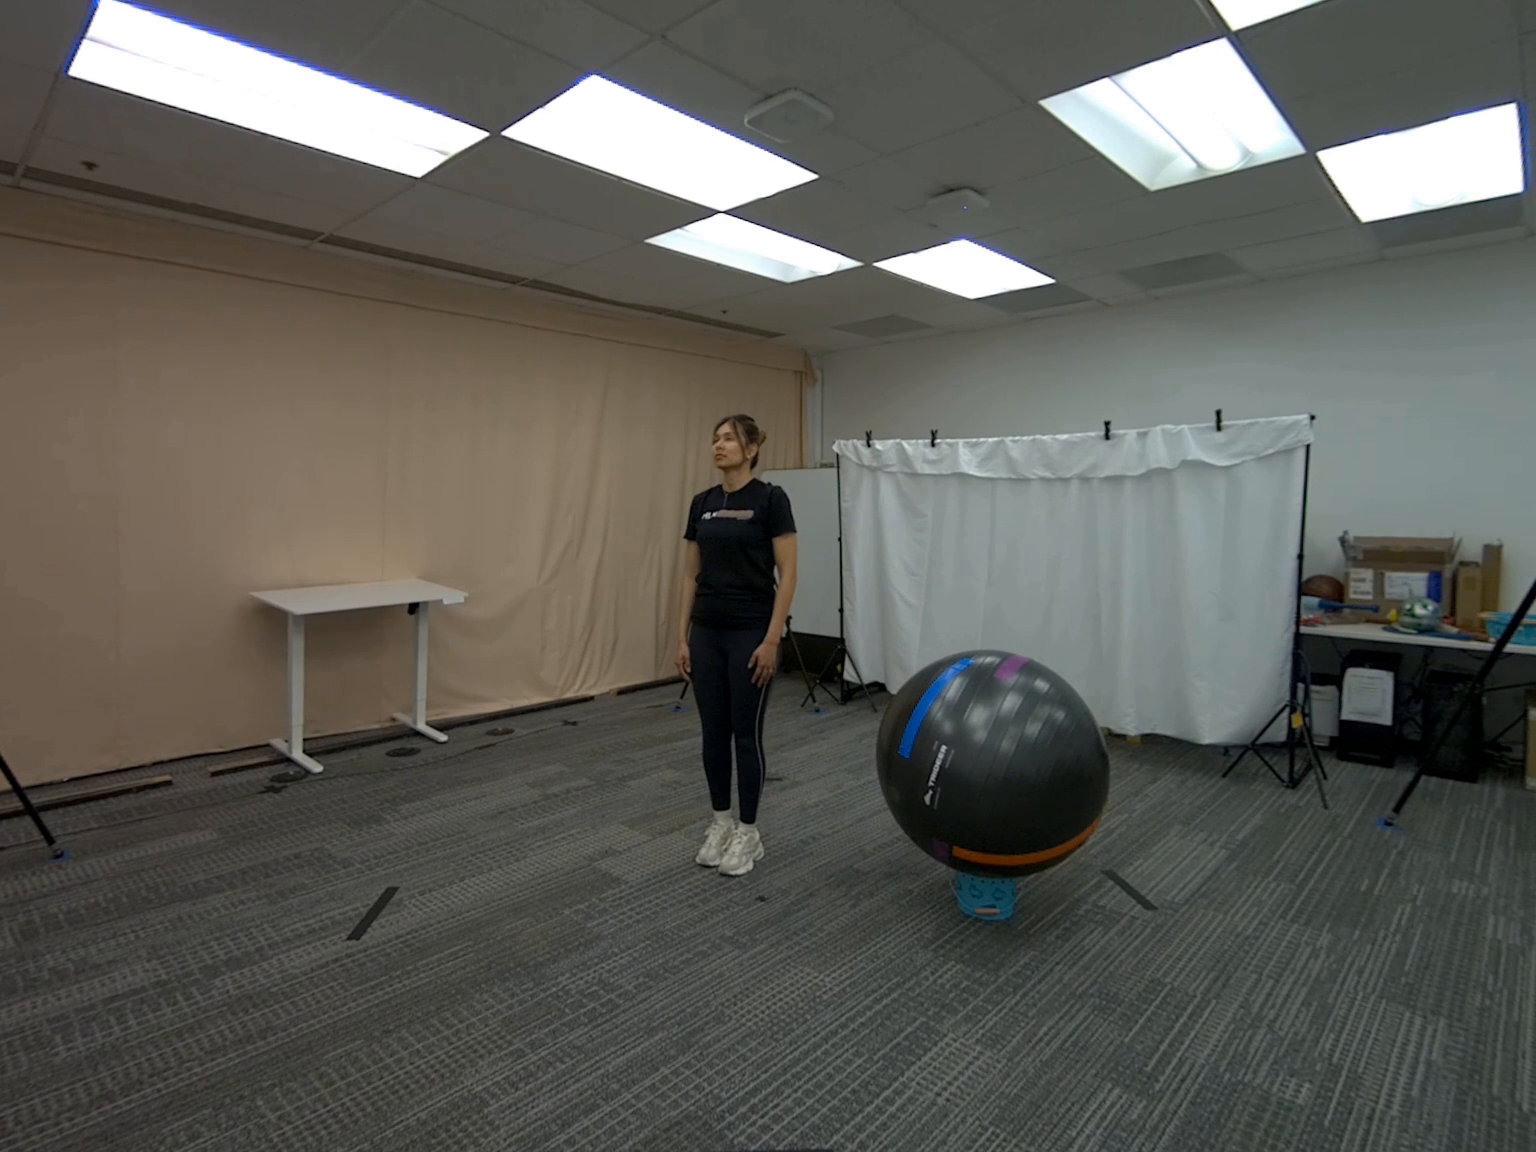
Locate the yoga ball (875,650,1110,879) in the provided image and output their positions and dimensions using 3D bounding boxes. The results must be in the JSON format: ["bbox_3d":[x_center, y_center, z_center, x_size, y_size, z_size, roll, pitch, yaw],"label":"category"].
[{"bbox_3d":[0.768,0.643,2.898,0.757,0.756,0.761,0,4,-2],"label":"yoga ball"}]
